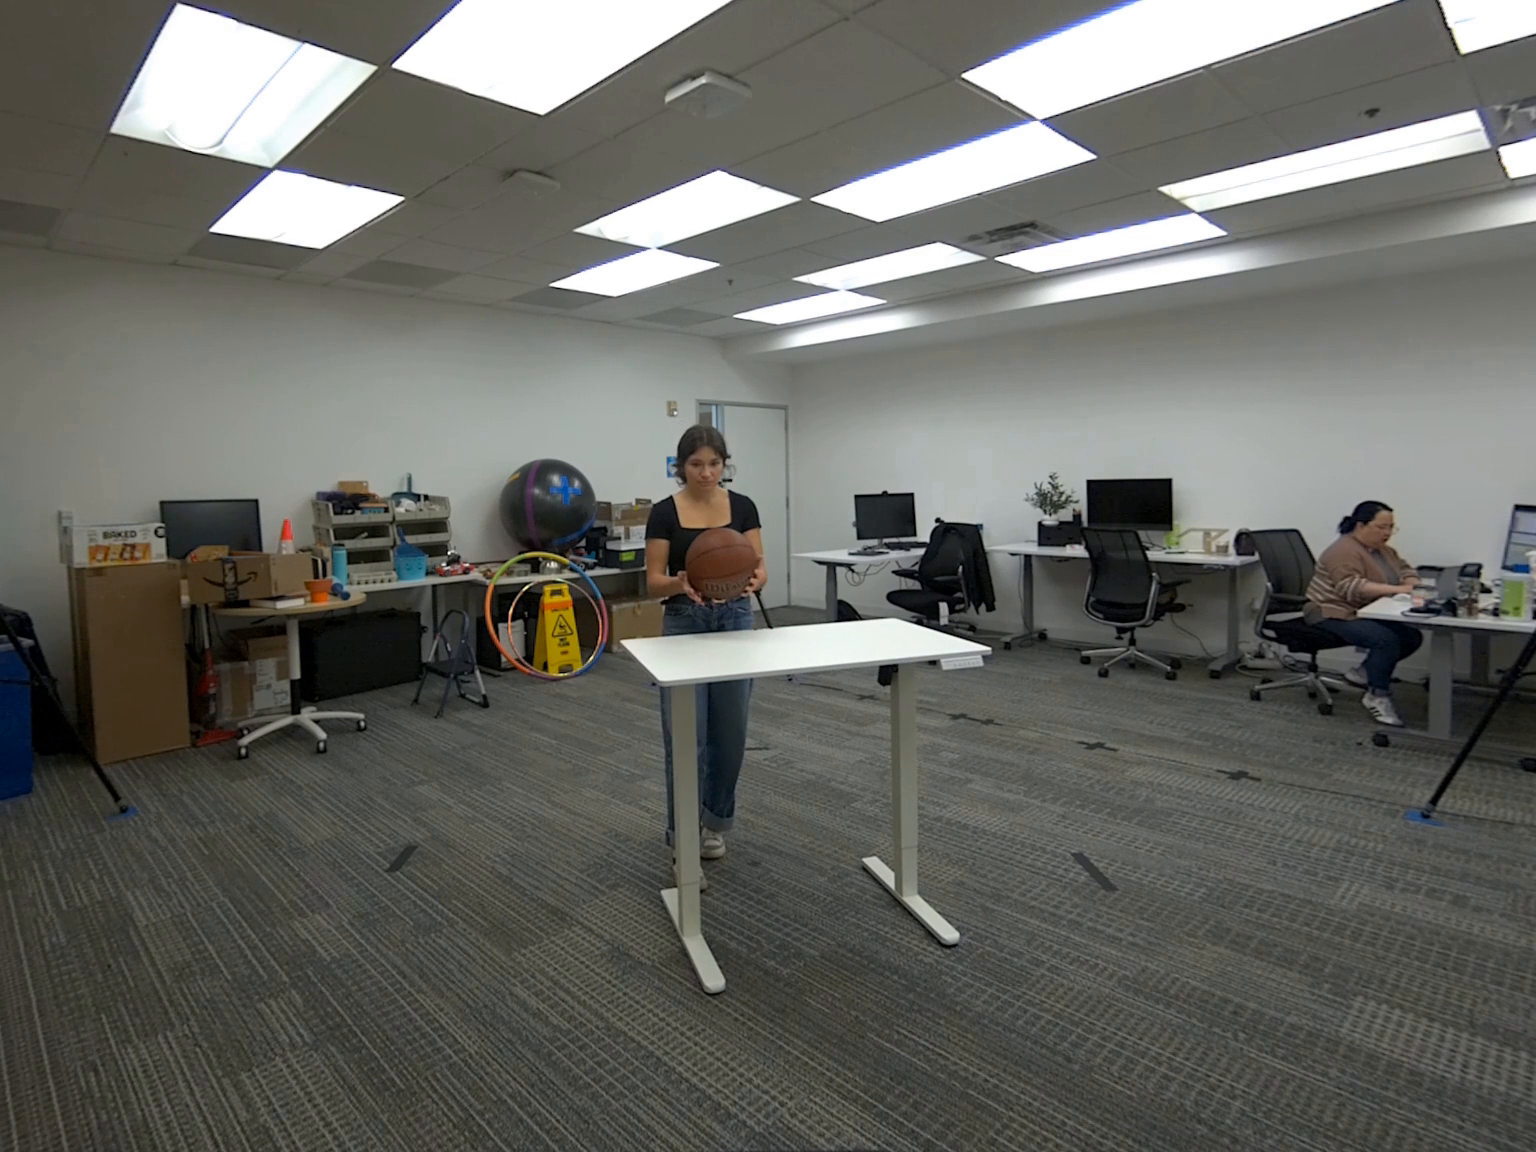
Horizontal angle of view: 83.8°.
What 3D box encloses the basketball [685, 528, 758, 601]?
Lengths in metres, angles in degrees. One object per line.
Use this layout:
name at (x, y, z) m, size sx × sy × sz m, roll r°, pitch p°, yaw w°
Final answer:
basketball at (-0.165, -0.042, 2.852) m, size 0.236 × 0.235 × 0.237 m, roll -1°, pitch 5°, yaw -2°
